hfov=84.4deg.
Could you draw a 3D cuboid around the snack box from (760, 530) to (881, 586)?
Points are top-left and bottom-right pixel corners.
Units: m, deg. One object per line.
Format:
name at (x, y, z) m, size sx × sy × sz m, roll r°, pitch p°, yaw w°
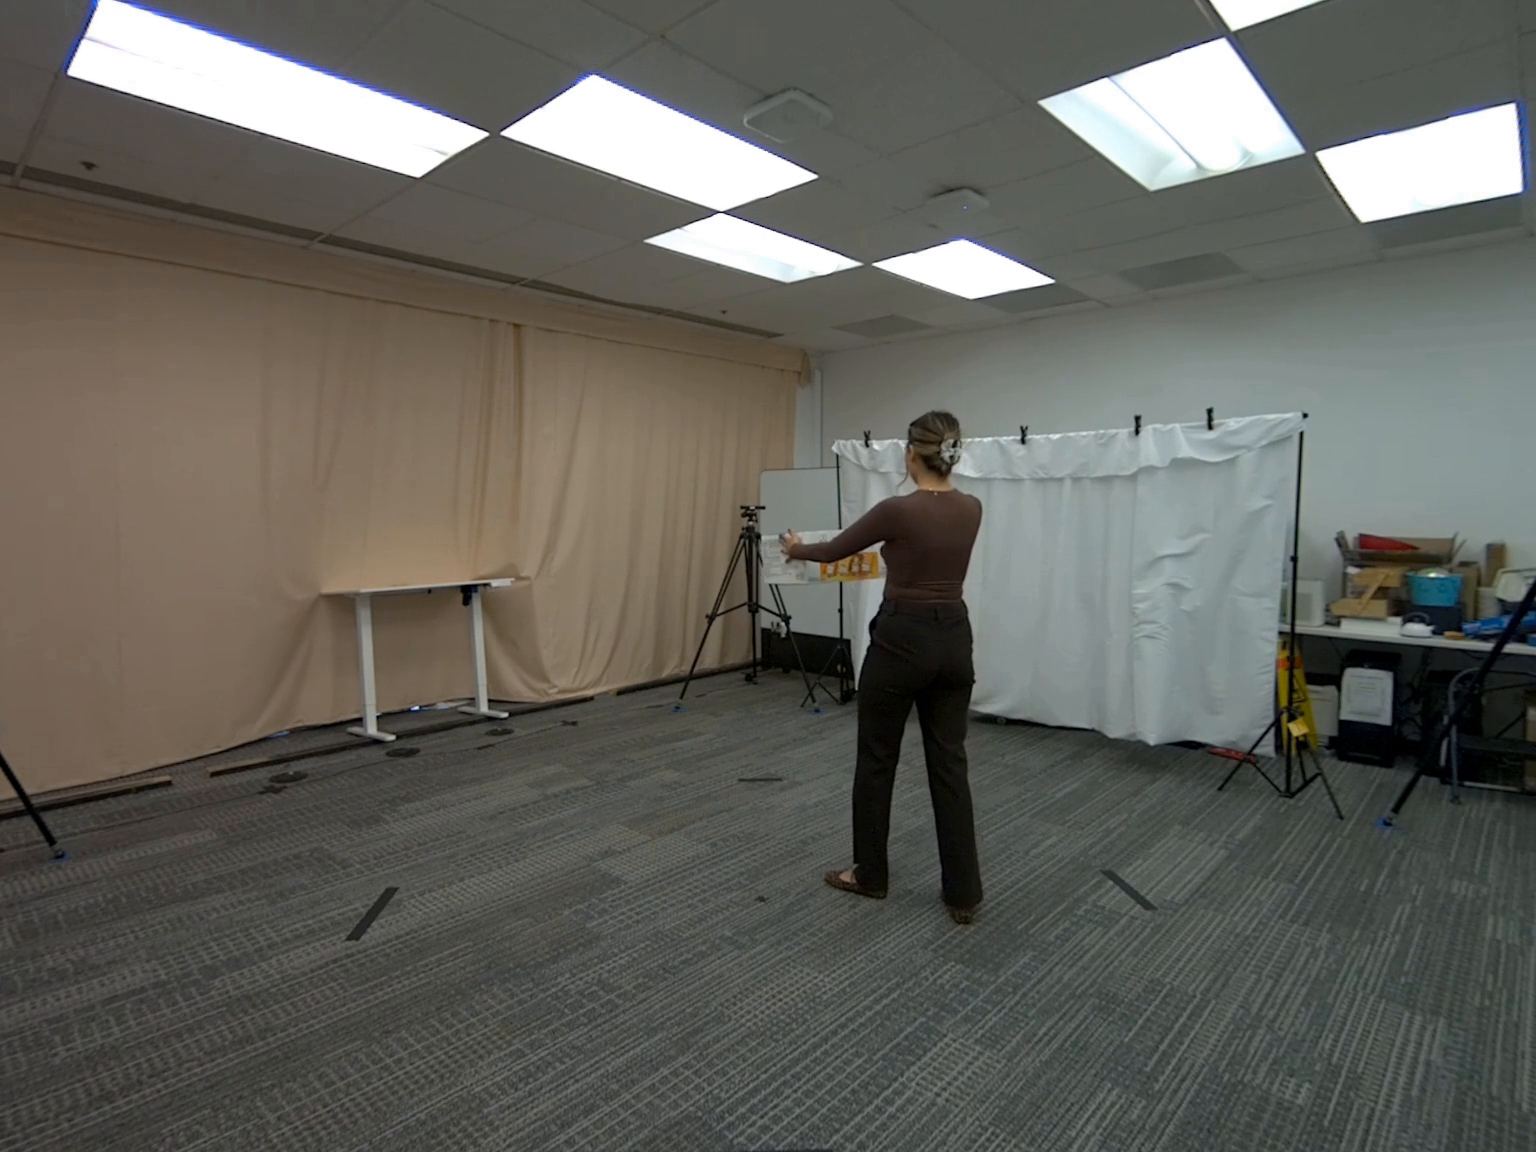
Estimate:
snack box at (0.239, -0.081, 3.439) m, size 0.395 × 0.205 × 0.349 m, roll -5°, pitch 2°, yaw -28°
